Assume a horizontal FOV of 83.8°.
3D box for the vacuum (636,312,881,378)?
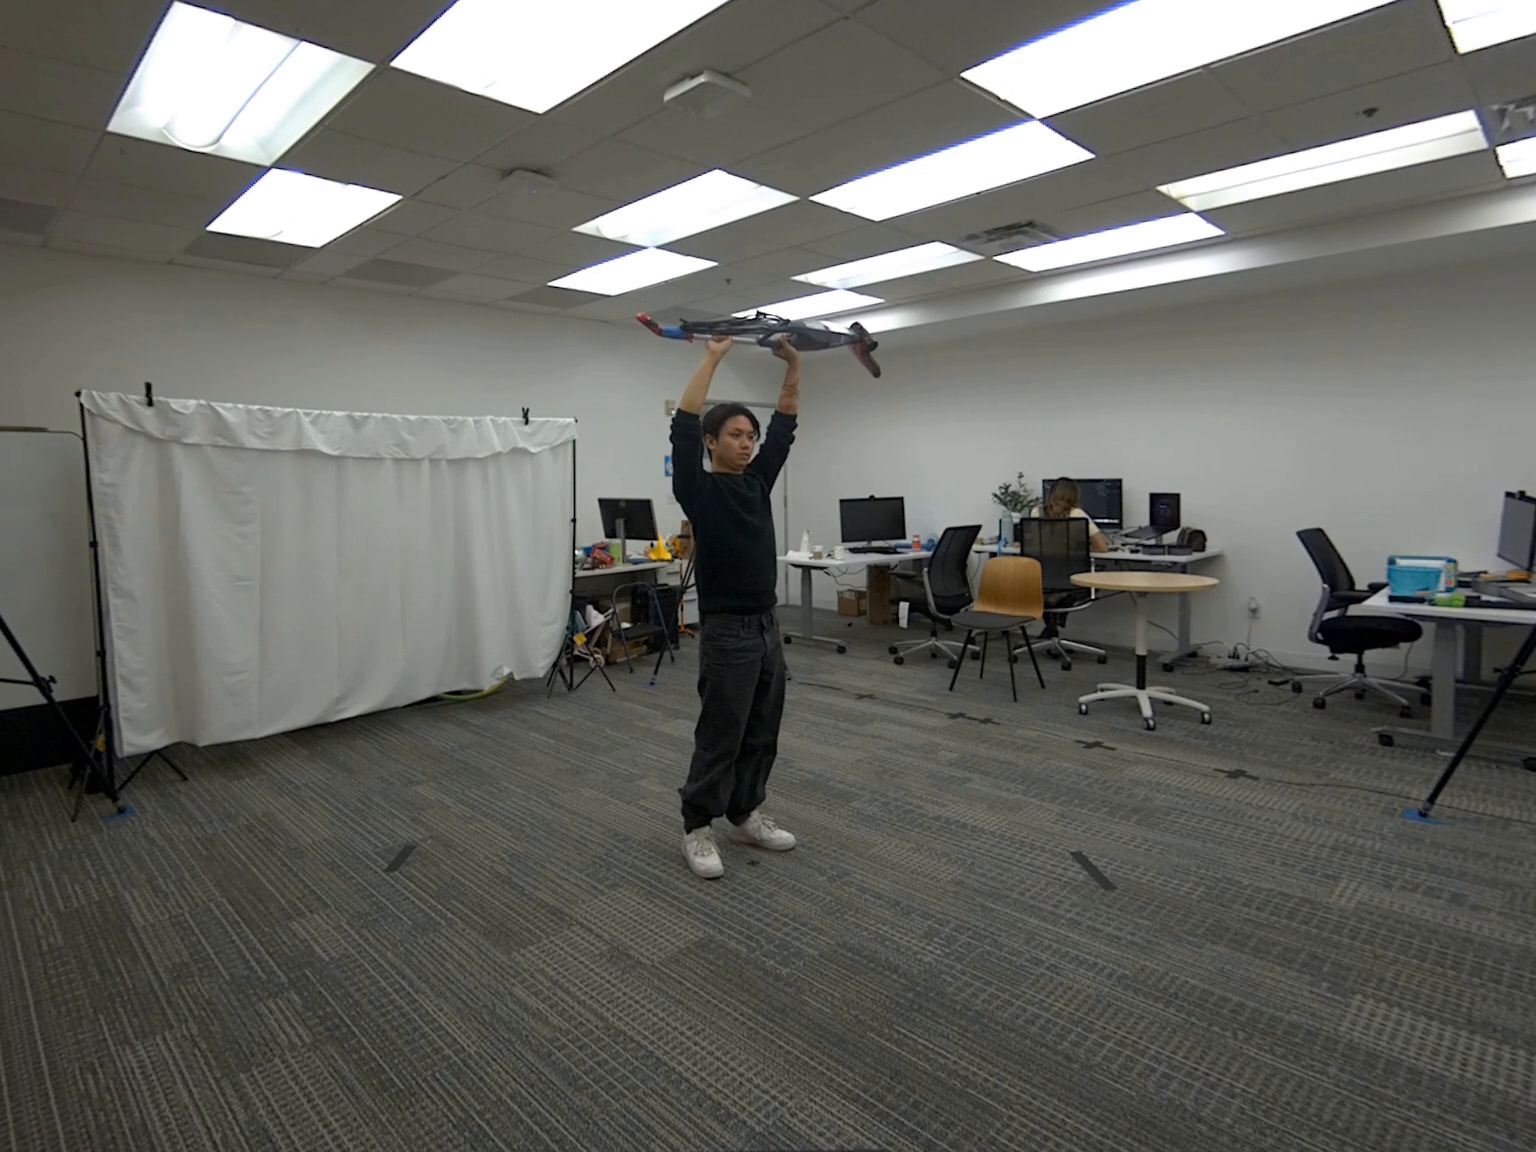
[{"bbox_3d":[-0.010,-0.877,3.056,1.022,0.143,0.261,-5,48,-39],"label":"vacuum"}]
